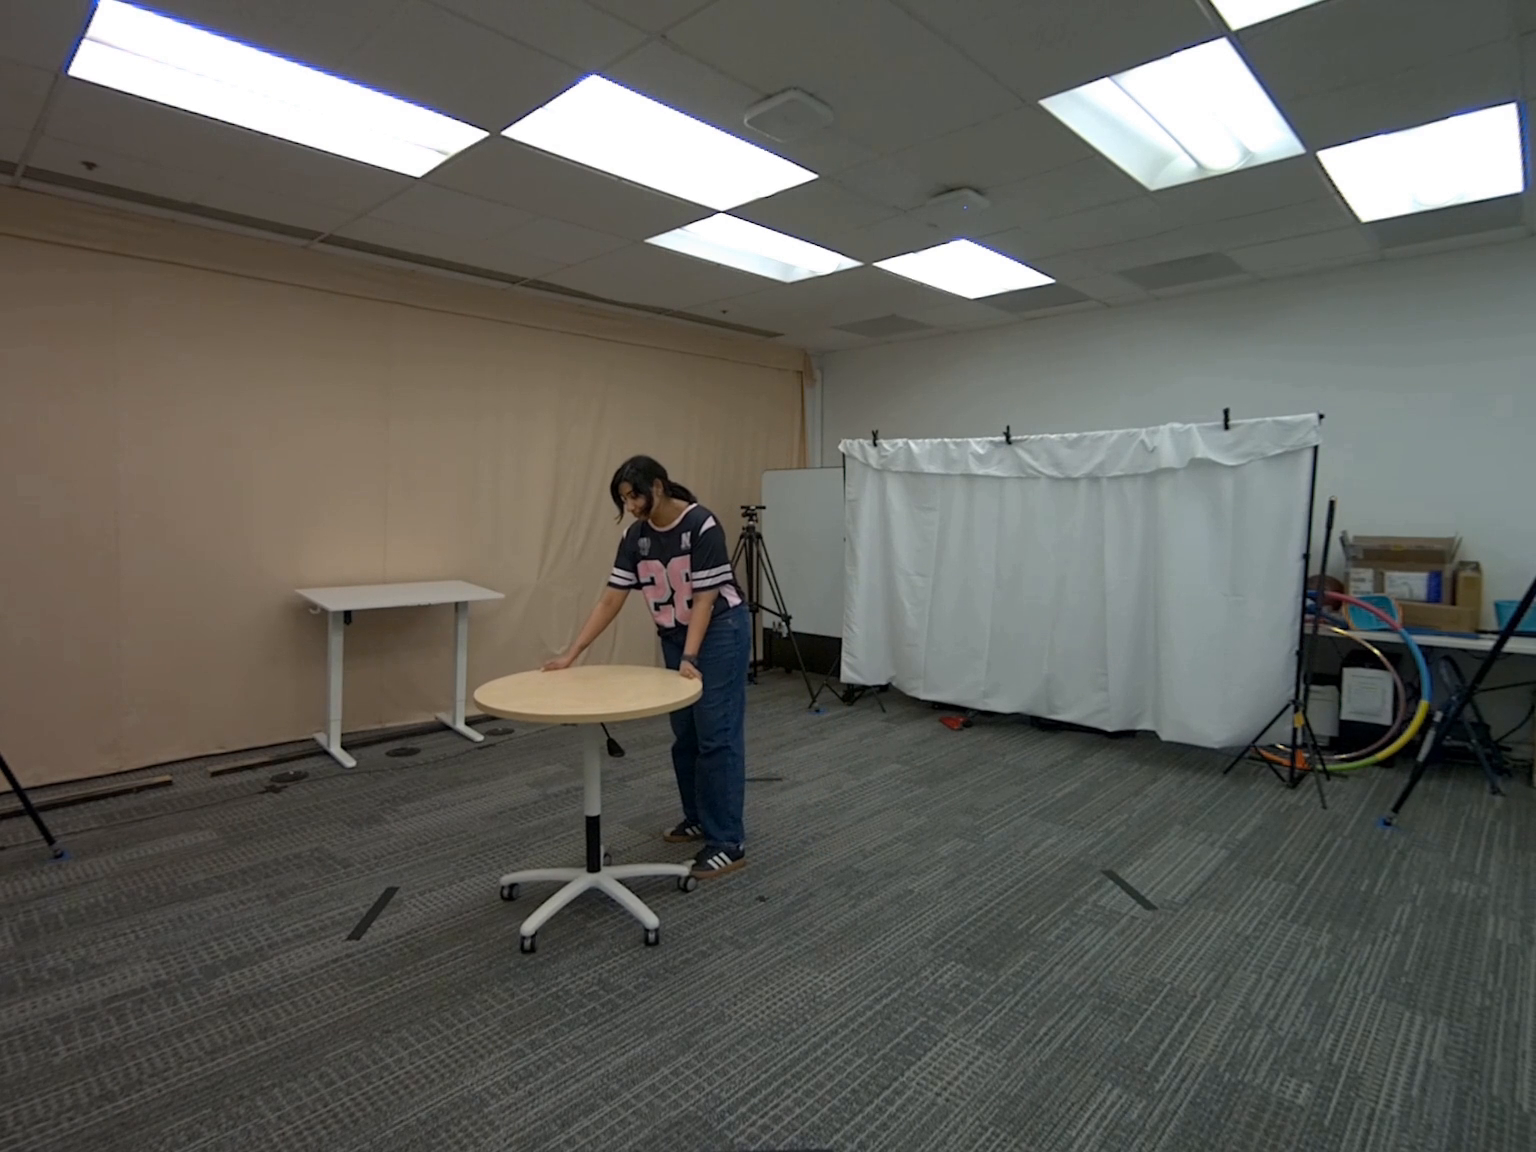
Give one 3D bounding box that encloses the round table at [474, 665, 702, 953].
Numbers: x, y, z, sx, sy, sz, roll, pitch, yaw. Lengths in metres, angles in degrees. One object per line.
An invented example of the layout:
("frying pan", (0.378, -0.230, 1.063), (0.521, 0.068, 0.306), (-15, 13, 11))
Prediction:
("round table", (-0.600, 0.762, 2.906), (0.784, 0.785, 0.788), (-1, 4, -2))
